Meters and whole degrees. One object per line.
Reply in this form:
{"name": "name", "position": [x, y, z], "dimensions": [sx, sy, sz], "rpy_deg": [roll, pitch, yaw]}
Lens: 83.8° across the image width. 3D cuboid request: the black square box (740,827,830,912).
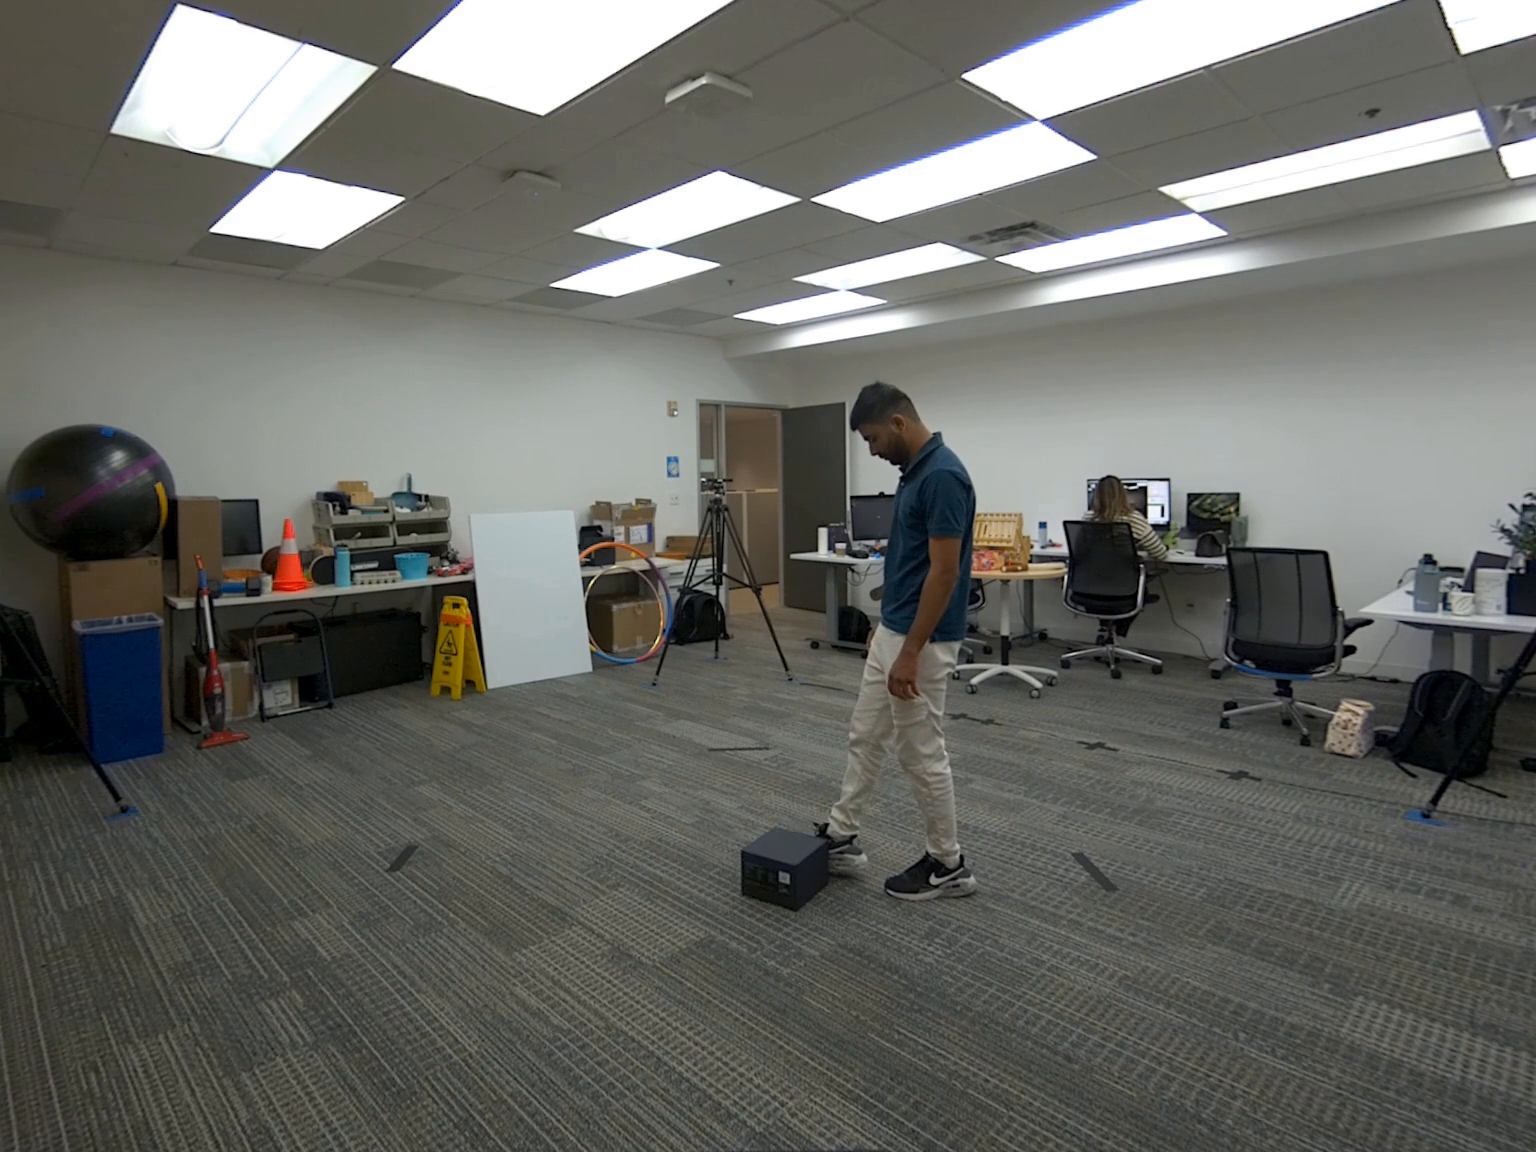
{"name": "black square box", "position": [0.067, 0.982, 2.896], "dimensions": [0.223, 0.155, 0.222], "rpy_deg": [2, 7, 34]}
